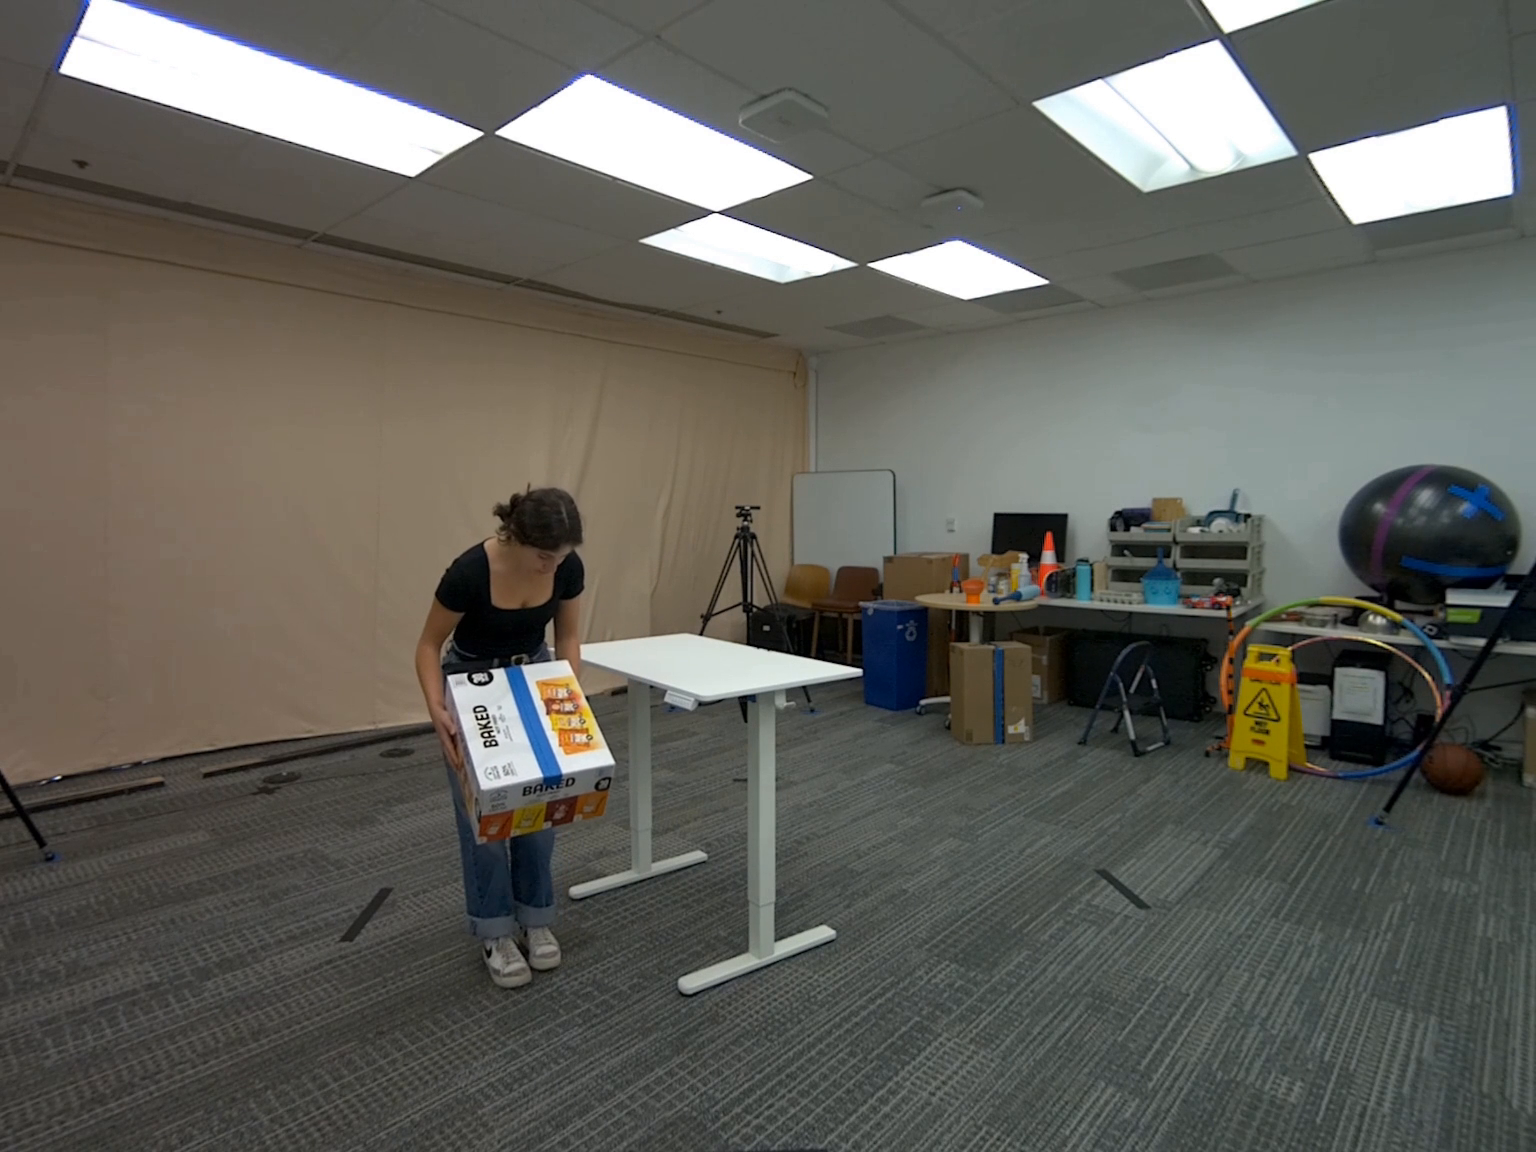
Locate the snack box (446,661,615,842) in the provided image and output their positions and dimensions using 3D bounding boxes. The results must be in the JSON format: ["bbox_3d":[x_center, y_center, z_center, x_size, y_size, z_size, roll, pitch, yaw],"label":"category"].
[{"bbox_3d":[-0.650,0.451,2.252,0.332,0.204,0.419,-5,38,-29],"label":"snack box"}]
